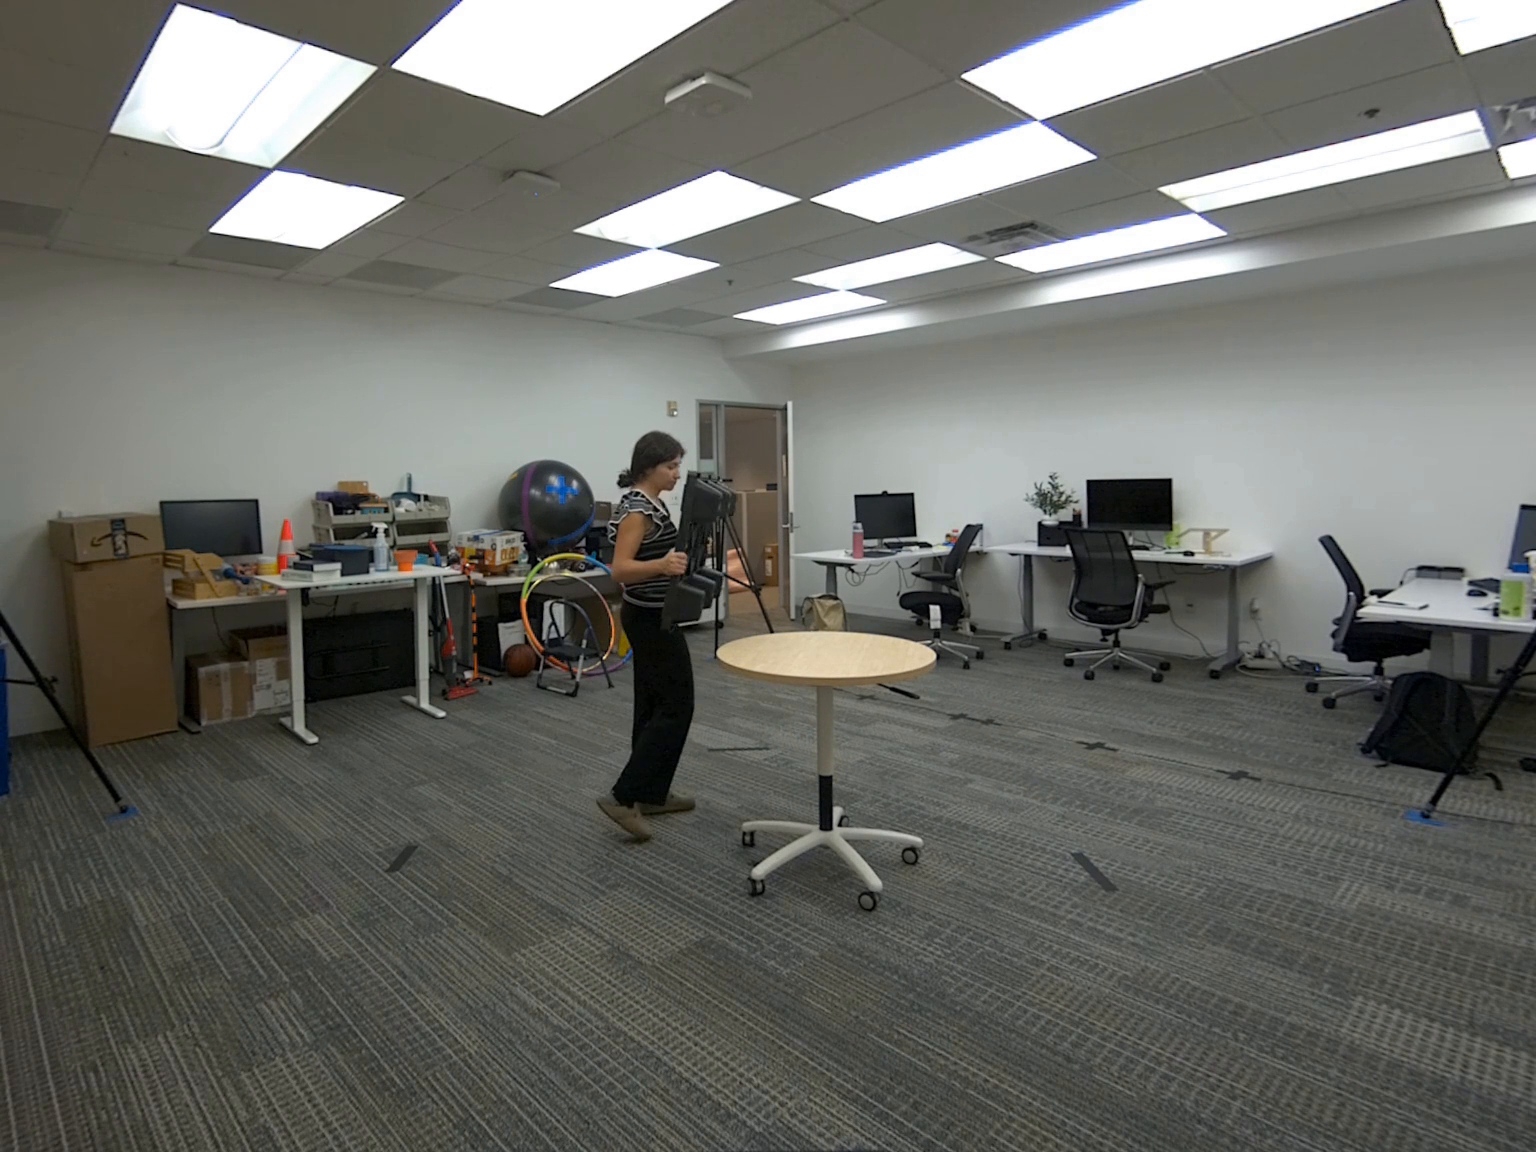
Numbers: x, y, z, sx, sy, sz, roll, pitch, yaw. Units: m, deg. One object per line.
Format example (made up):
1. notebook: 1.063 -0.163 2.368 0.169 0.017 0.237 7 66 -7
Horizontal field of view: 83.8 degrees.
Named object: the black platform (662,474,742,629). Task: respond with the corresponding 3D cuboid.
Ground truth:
1. black platform: -0.250 -0.120 3.472 0.144 0.603 0.805 9 5 2
